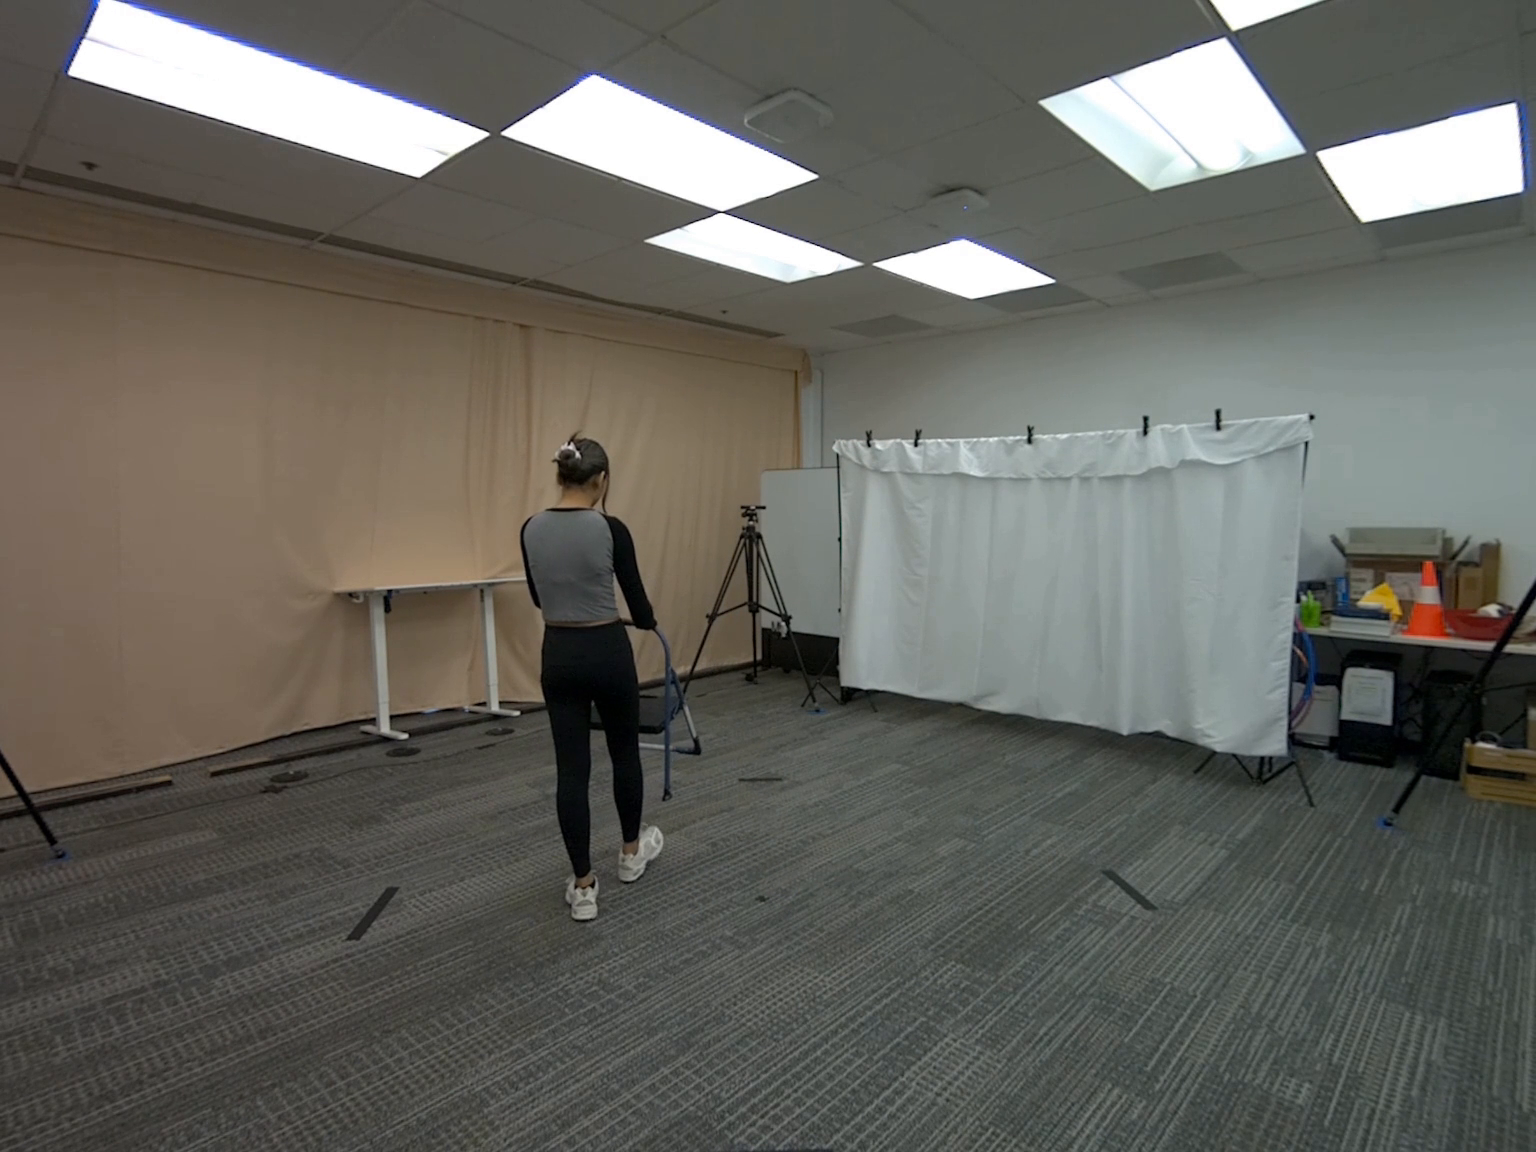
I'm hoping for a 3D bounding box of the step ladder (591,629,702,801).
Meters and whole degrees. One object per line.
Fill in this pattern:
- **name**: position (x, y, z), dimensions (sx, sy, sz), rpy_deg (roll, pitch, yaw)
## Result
- **step ladder**: position (-0.546, 0.484, 3.232), dimensions (0.440, 0.599, 0.345), rpy_deg (0, 16, 20)
